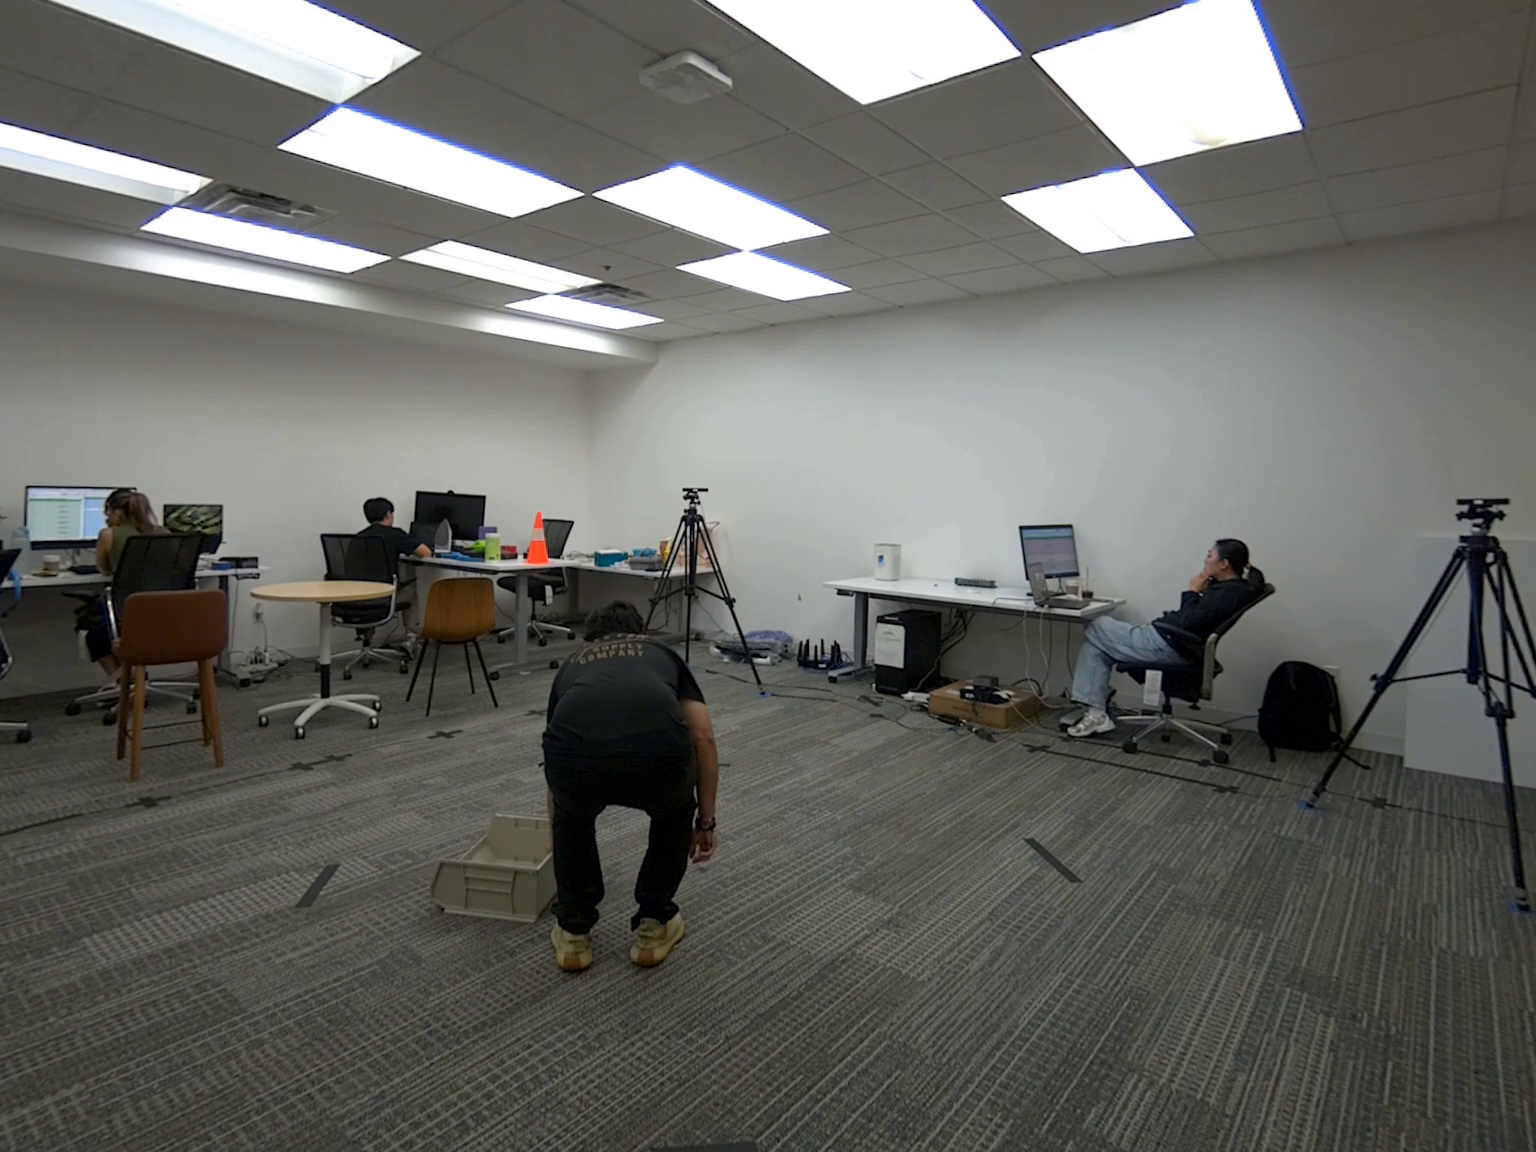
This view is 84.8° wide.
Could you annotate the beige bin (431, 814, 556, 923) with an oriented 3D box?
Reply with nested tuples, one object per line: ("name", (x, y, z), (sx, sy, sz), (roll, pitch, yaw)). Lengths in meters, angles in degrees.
("beige bin", (-0.902, 0.989, 2.927), (0.381, 0.188, 0.420), (3, 5, 8))
